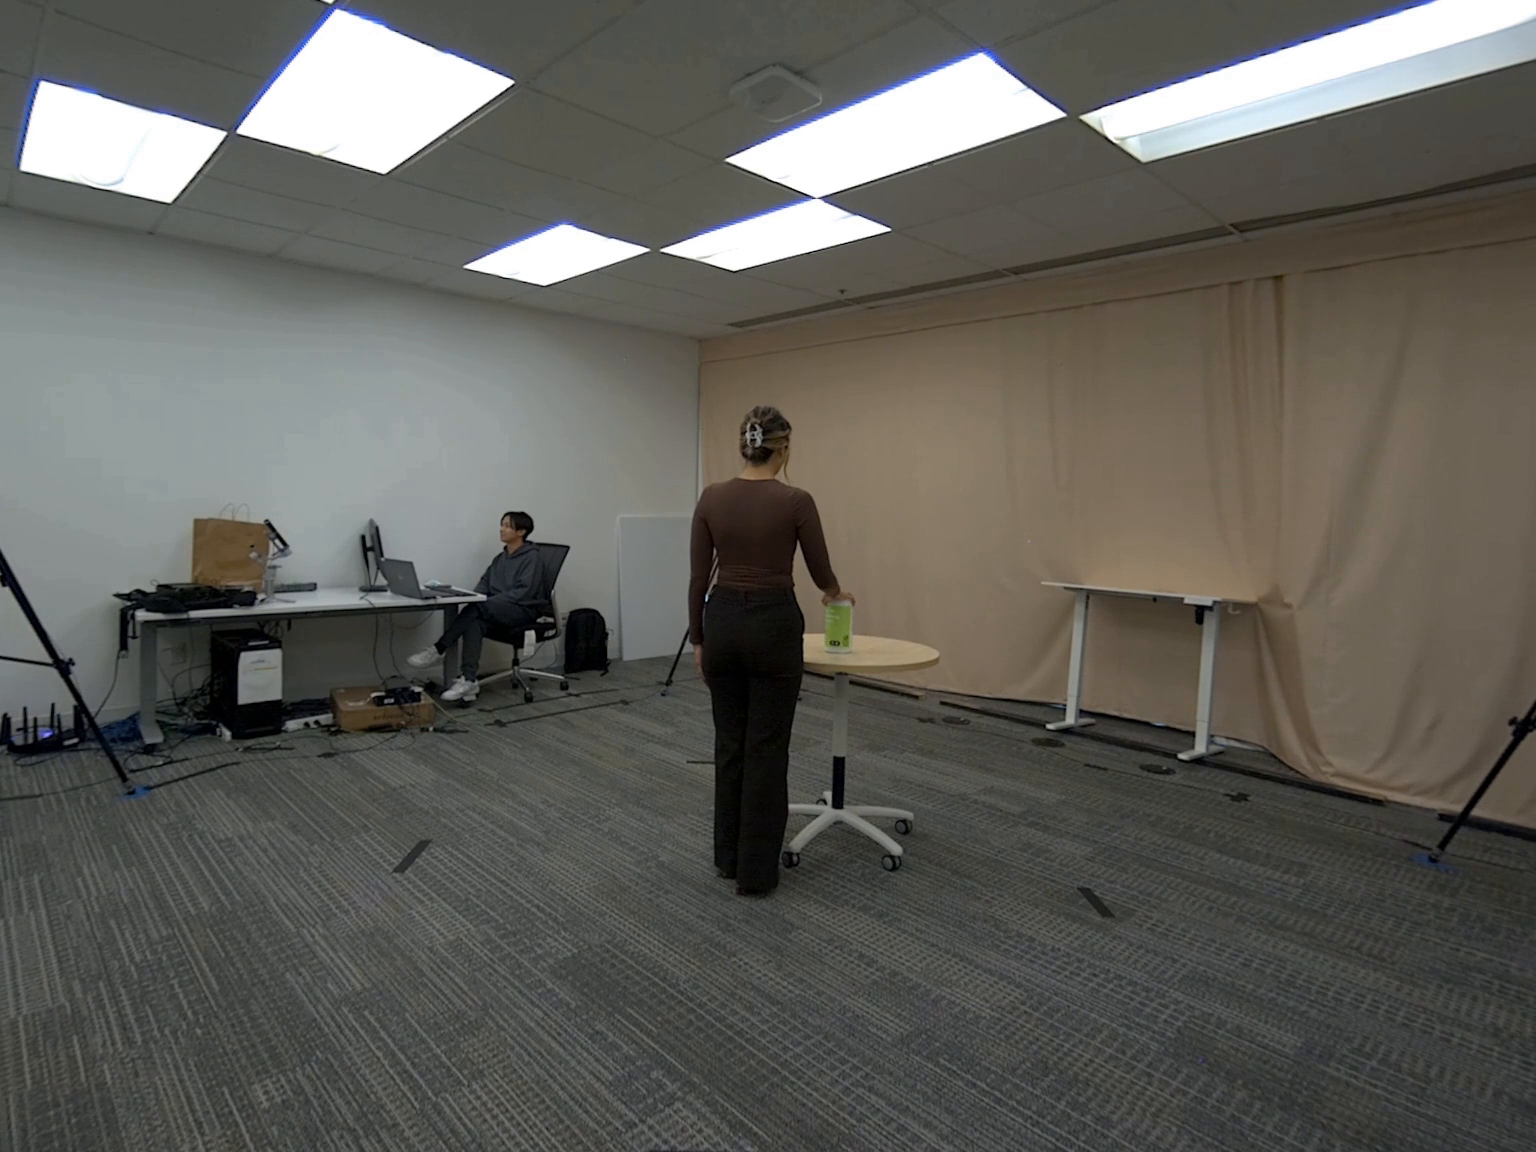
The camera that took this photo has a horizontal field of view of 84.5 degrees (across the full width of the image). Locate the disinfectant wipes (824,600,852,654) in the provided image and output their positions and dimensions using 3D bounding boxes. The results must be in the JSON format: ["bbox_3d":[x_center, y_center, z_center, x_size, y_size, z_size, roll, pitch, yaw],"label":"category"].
[{"bbox_3d":[0.273,0.192,3.330,0.118,0.216,0.118,-1,5,-1],"label":"disinfectant wipes"}]
